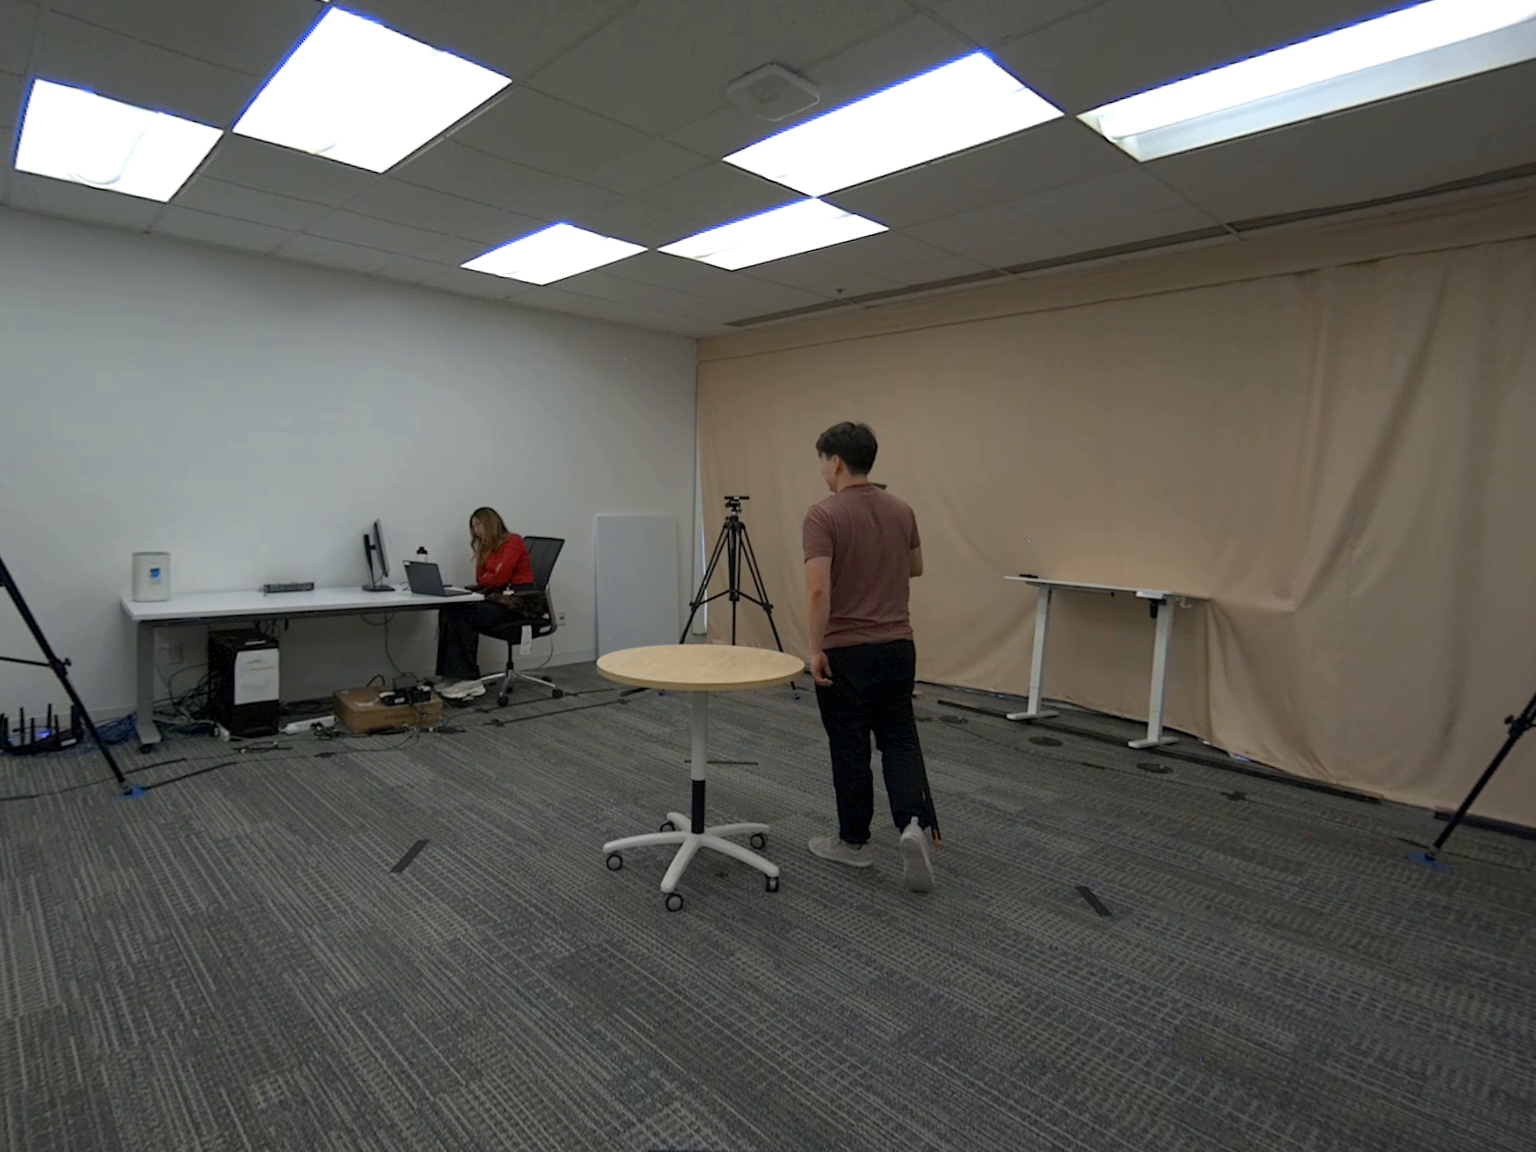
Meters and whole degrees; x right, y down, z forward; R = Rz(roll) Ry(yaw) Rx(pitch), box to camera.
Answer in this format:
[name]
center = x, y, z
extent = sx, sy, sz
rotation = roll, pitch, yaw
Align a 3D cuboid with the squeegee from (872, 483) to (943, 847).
[squeegee]
center = 0.528, 0.333, 3.560
extent = 0.054, 1.551, 0.427
rotation = -17, -12, 36
